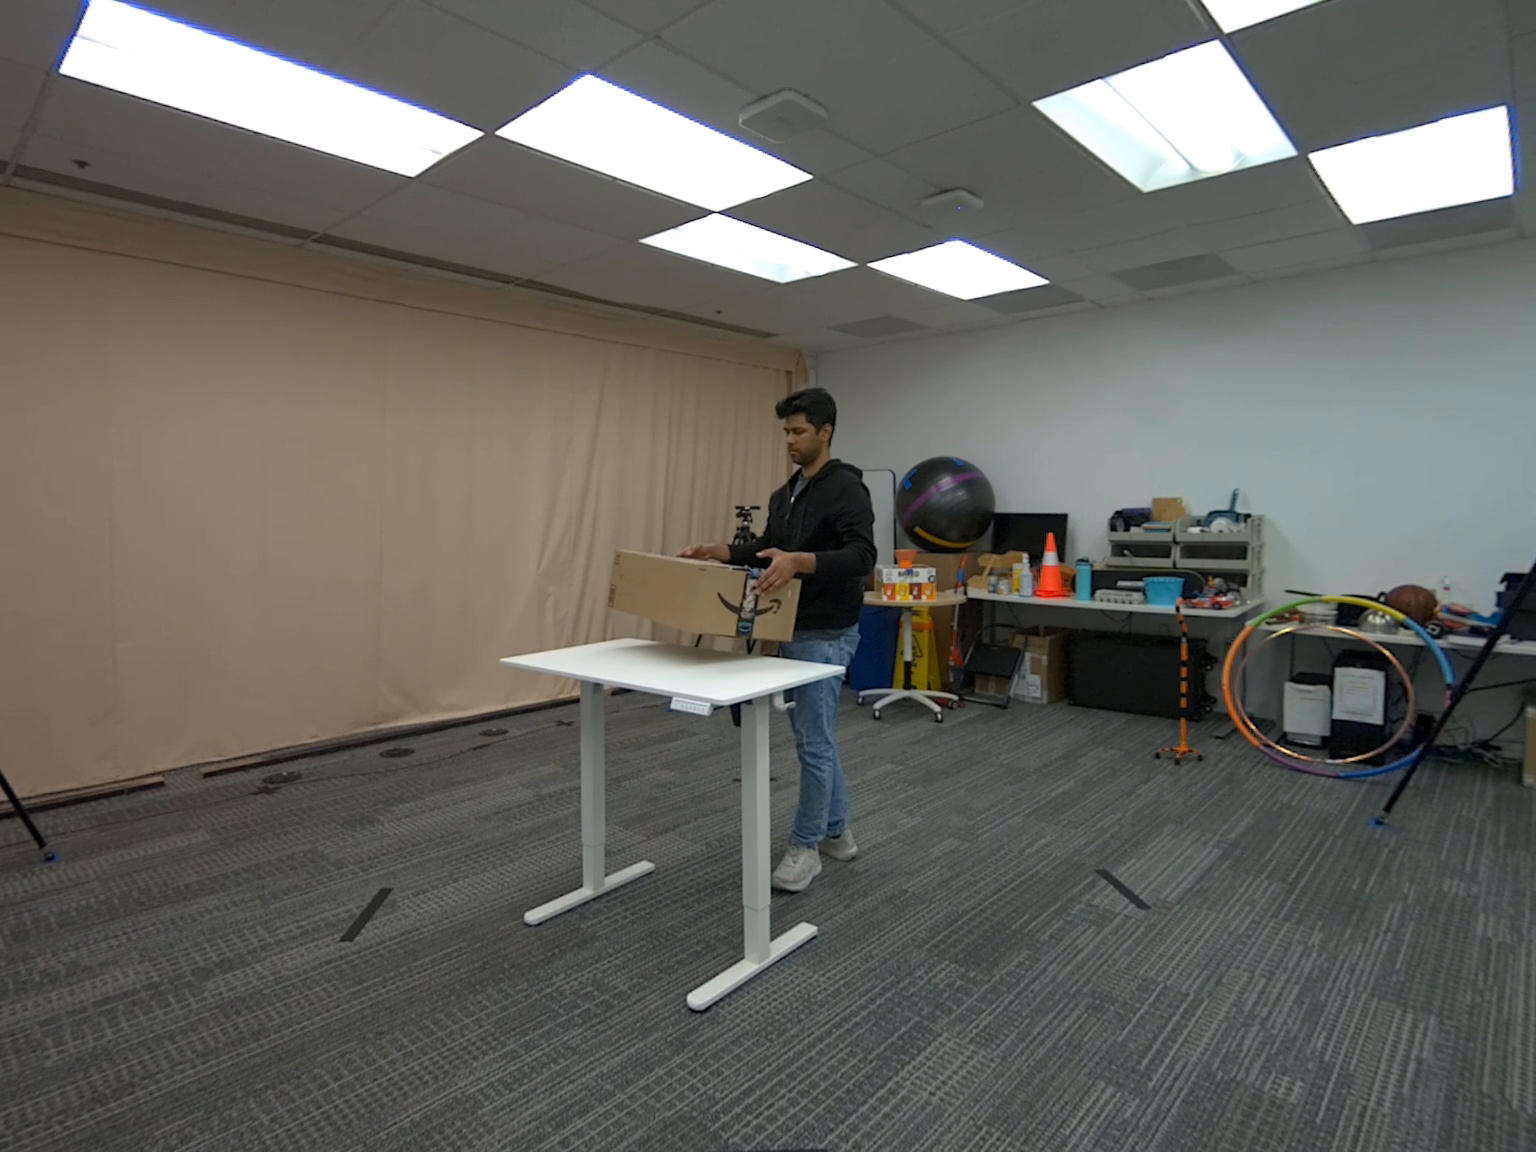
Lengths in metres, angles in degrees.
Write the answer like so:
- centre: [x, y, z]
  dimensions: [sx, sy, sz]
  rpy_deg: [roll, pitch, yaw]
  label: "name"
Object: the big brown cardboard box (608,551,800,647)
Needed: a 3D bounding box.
- centre: [-0.229, 0.063, 2.969]
  dimensions: [0.404, 0.233, 0.608]
  rpy_deg: [8, 1, -38]
  label: "big brown cardboard box"
